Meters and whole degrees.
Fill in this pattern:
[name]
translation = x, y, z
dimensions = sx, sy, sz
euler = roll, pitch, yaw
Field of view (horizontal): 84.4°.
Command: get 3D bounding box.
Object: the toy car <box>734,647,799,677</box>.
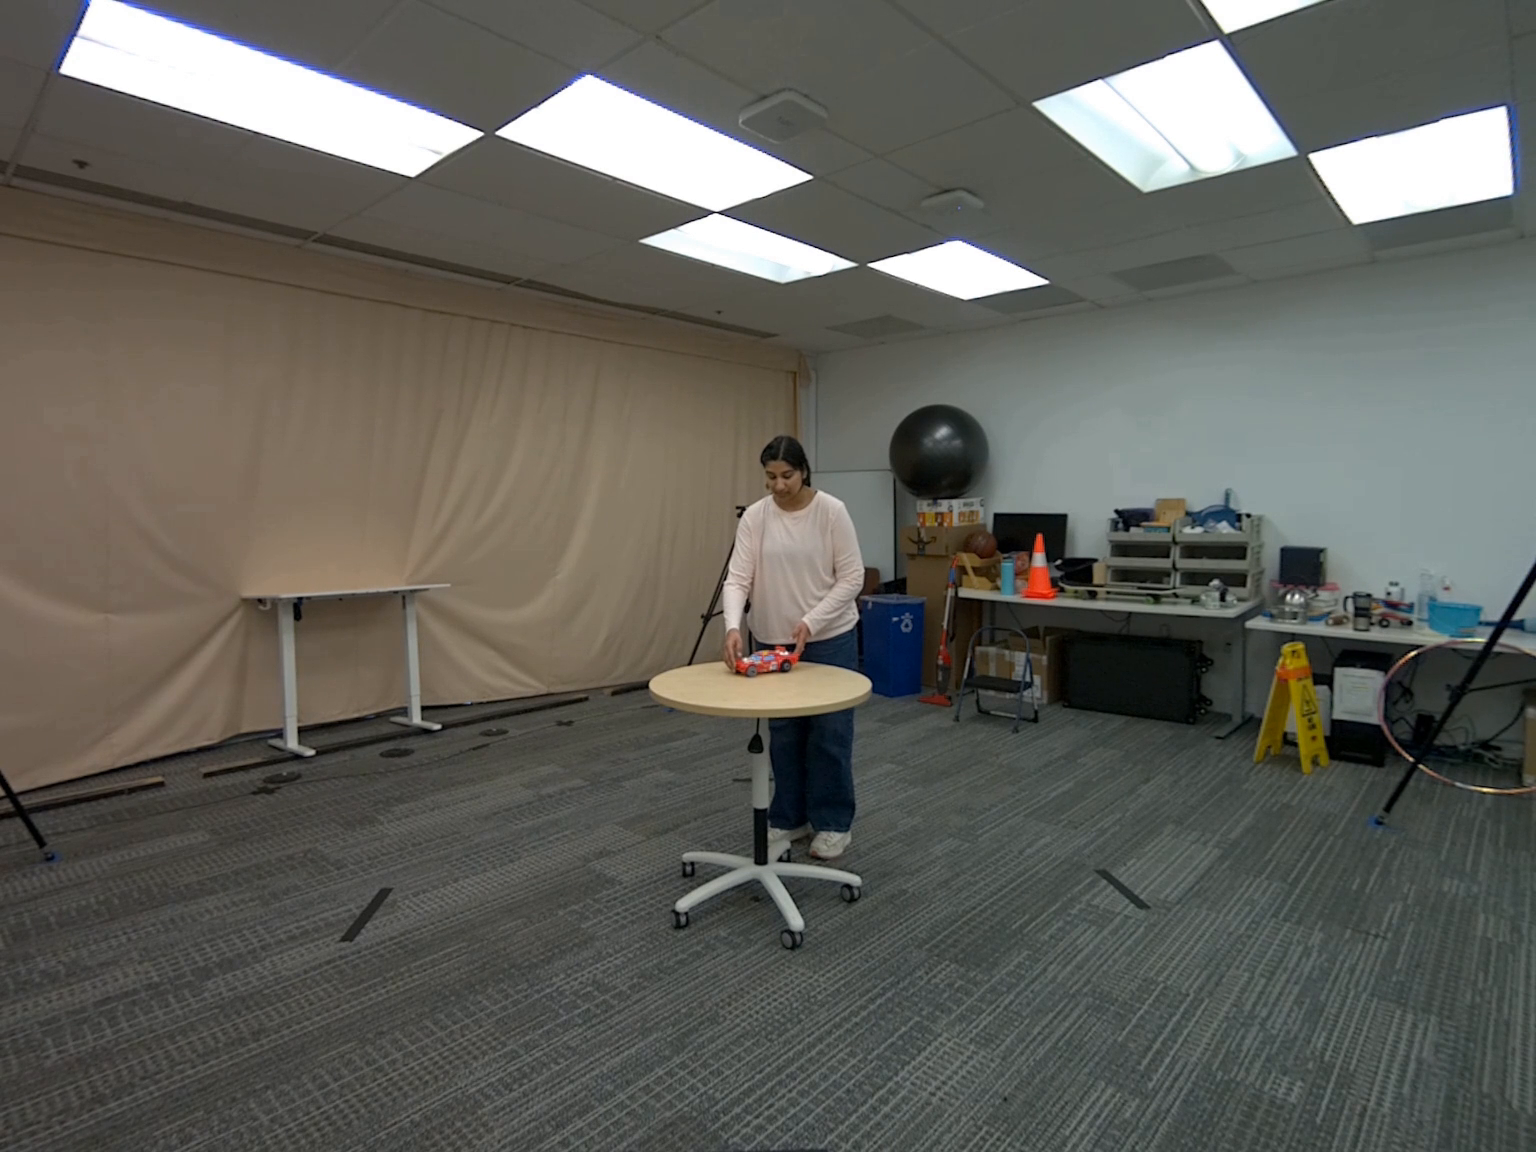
[toy car]
translation = -0.006, 0.319, 3.079
dimensions = 0.249, 0.082, 0.134
euler = -16, 11, -28
